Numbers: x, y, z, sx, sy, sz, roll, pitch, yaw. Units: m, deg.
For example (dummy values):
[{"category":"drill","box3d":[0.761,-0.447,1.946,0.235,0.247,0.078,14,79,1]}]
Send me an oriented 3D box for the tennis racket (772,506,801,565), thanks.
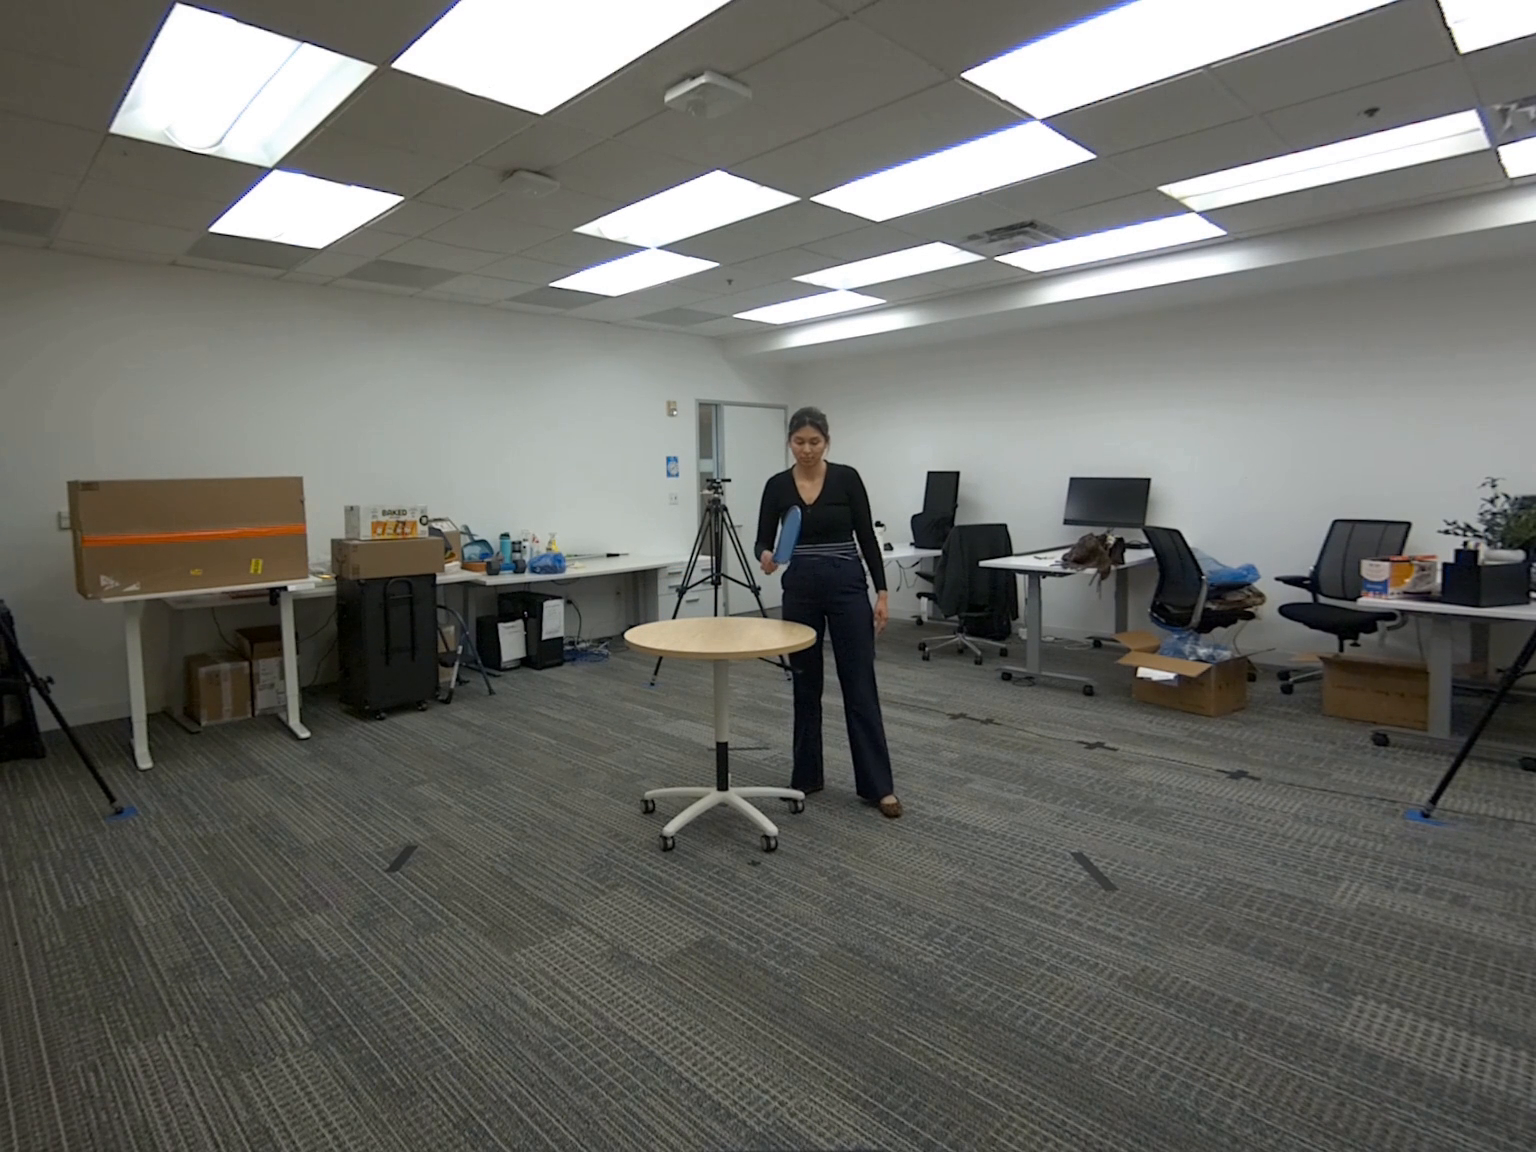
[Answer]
[{"category":"tennis racket","box3d":[0.058,-0.118,3.369,0.031,0.218,0.427,6,-27,-9]}]
